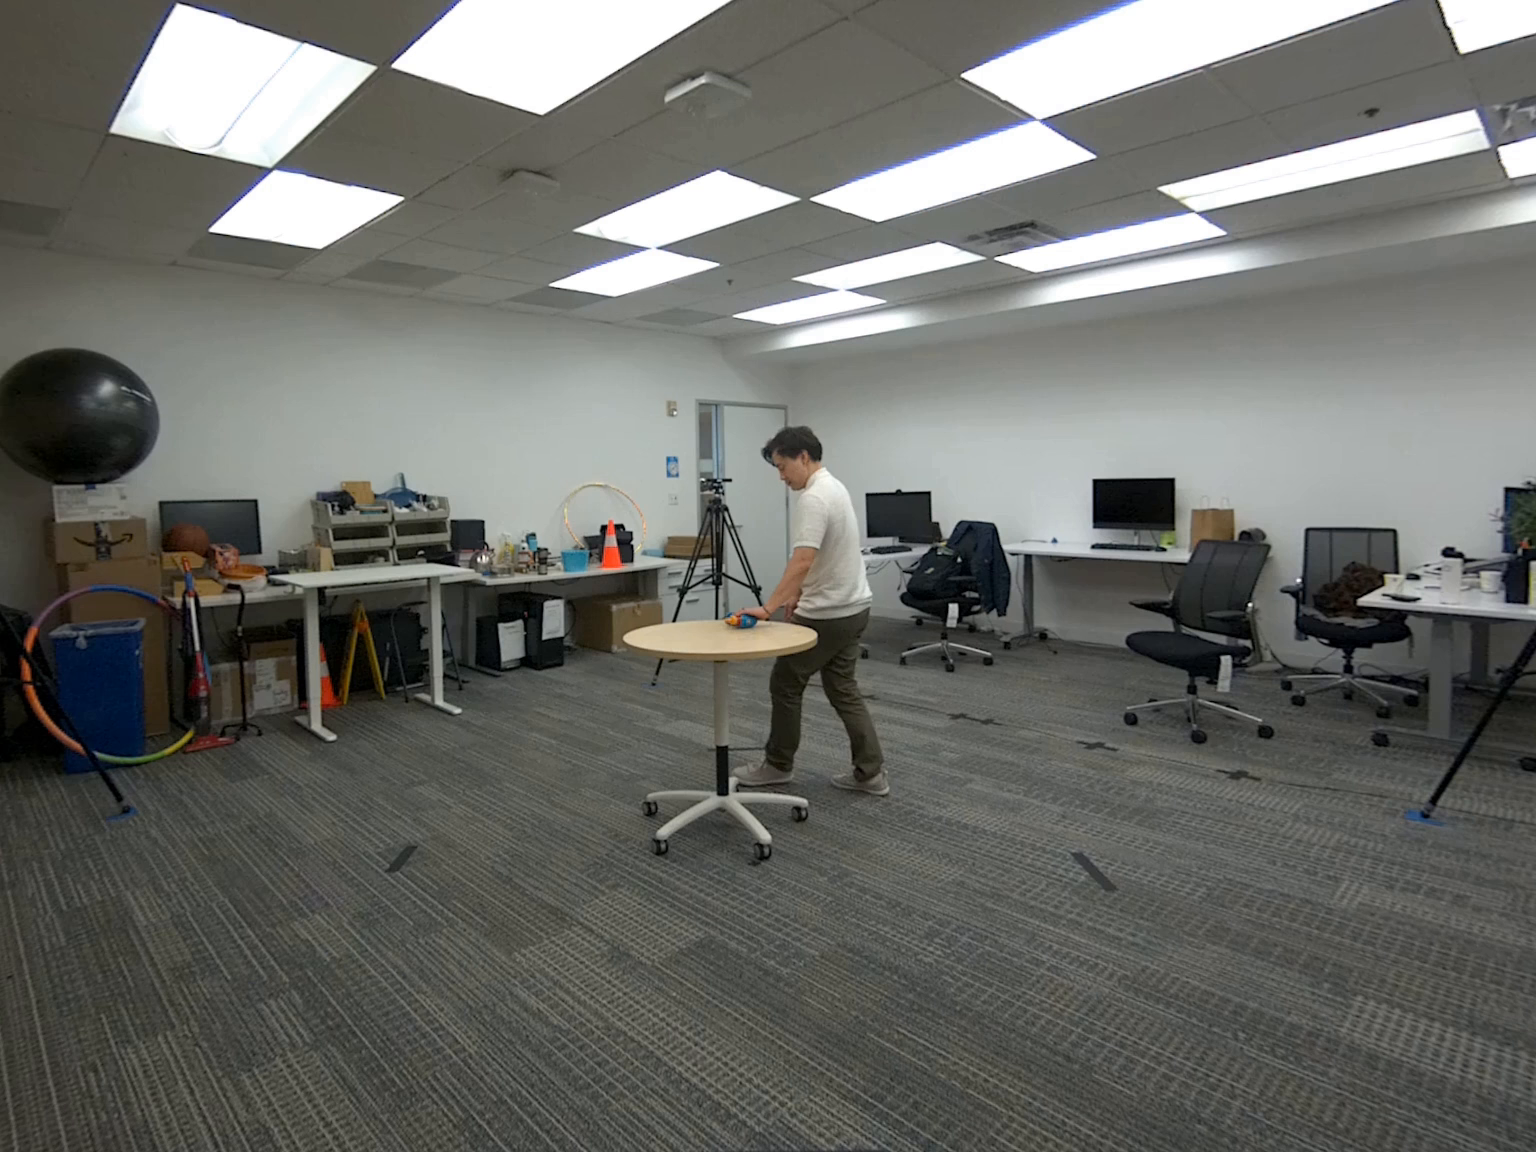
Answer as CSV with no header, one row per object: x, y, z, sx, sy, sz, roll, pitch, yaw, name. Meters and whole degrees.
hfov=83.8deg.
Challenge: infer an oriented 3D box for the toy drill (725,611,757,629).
-0.140,0.183,3.551,0.165,0.061,0.150,3,0,-40,toy drill
